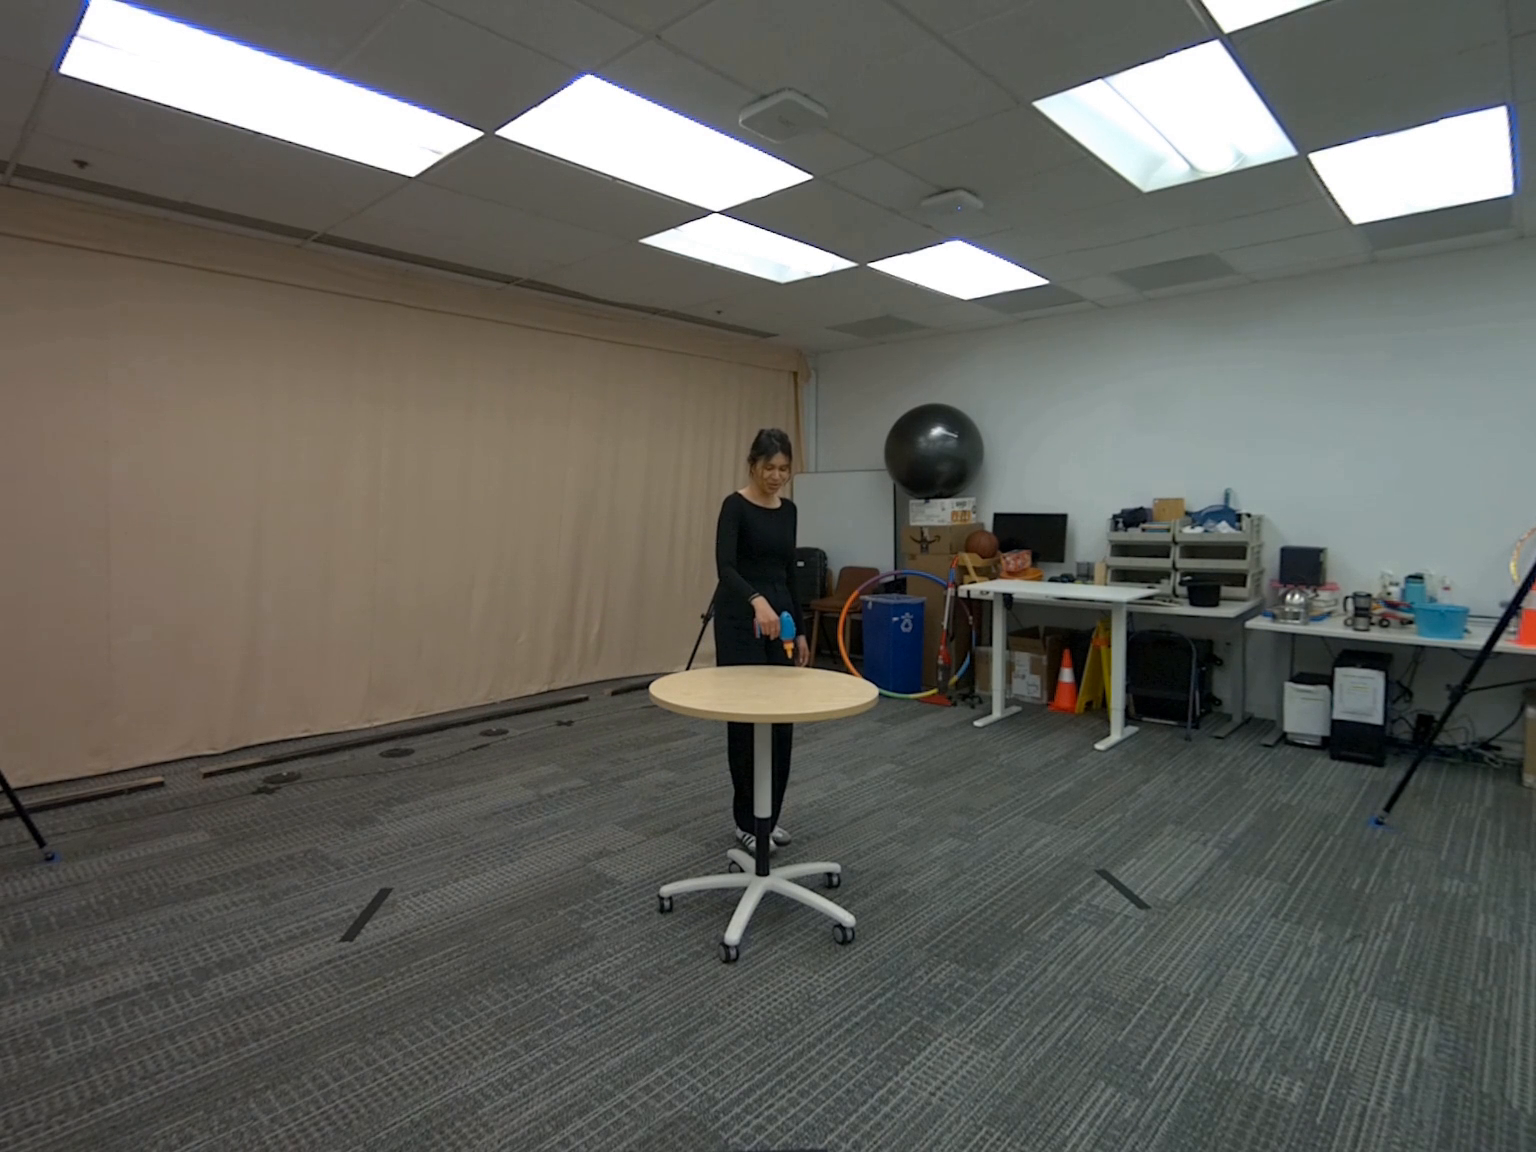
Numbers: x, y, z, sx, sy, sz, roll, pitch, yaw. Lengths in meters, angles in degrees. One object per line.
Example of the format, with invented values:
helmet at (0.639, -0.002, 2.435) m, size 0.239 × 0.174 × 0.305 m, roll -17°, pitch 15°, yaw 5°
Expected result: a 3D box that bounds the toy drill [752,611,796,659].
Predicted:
toy drill at (0.030, 0.221, 3.069) m, size 0.147 × 0.170 × 0.061 m, roll -4°, pitch 1°, yaw 8°
